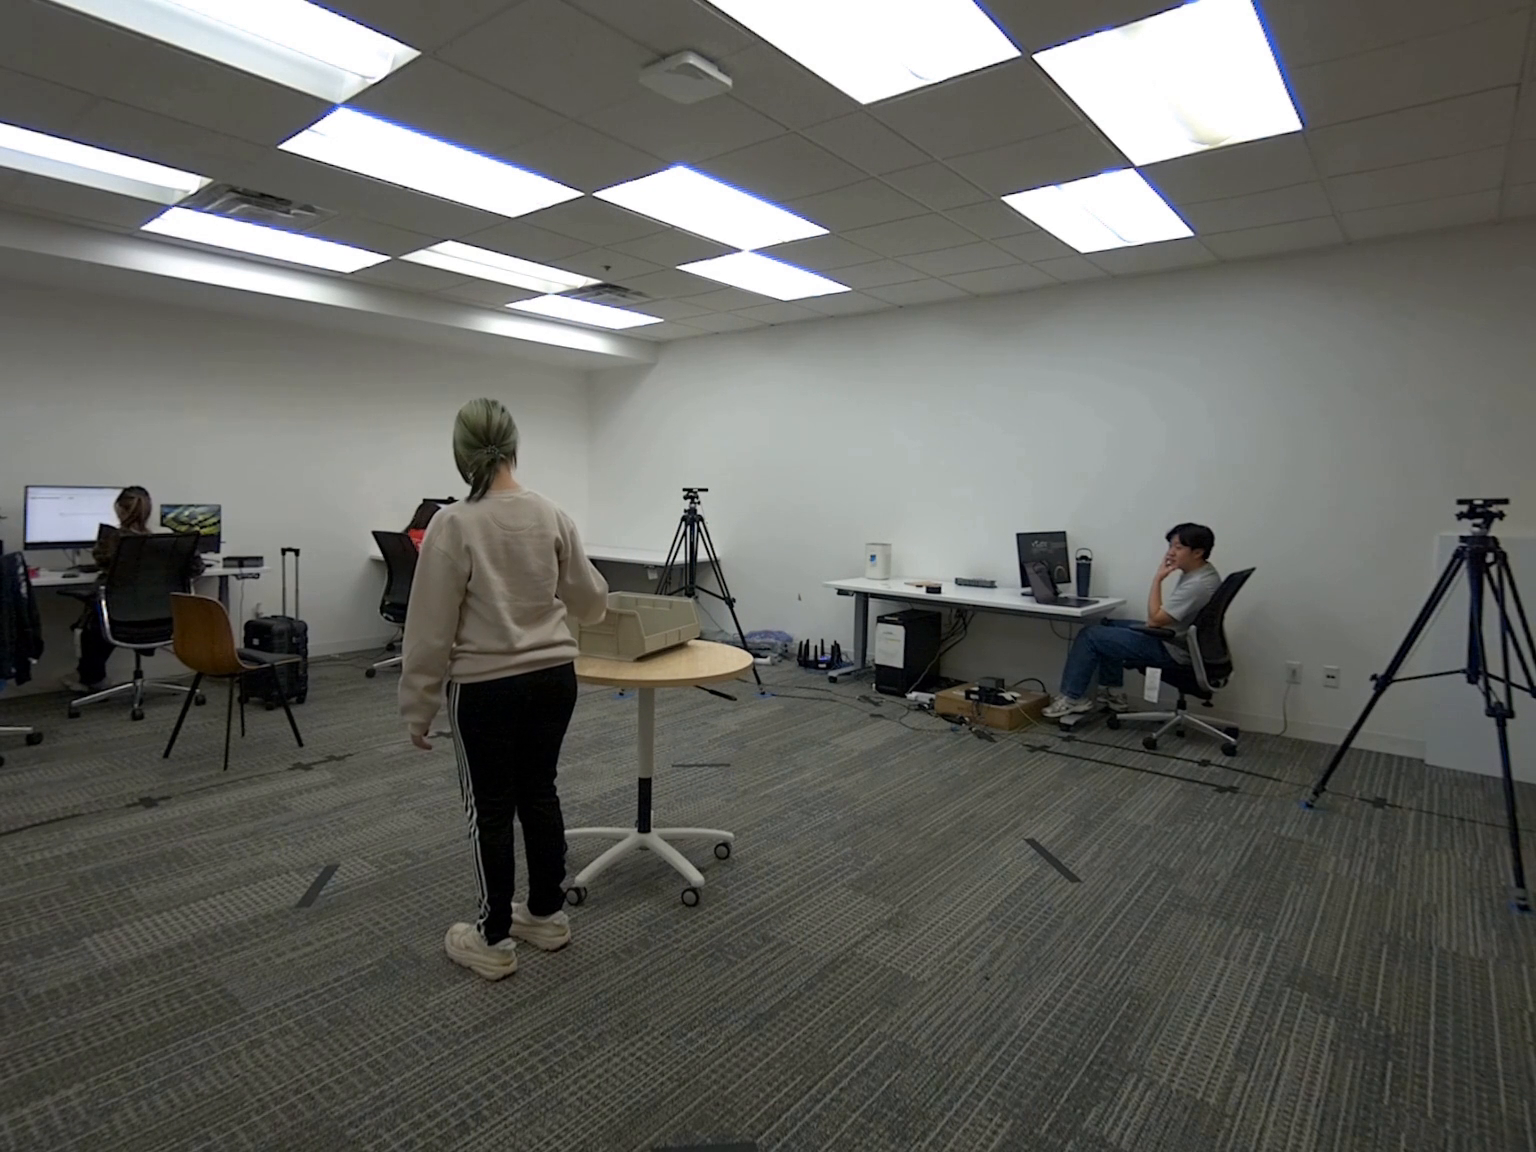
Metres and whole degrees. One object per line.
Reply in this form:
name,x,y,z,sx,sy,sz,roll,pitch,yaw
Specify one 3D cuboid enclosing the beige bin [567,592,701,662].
beige bin,-0.520,0.182,3.182,0.387,0.188,0.413,2,6,24
